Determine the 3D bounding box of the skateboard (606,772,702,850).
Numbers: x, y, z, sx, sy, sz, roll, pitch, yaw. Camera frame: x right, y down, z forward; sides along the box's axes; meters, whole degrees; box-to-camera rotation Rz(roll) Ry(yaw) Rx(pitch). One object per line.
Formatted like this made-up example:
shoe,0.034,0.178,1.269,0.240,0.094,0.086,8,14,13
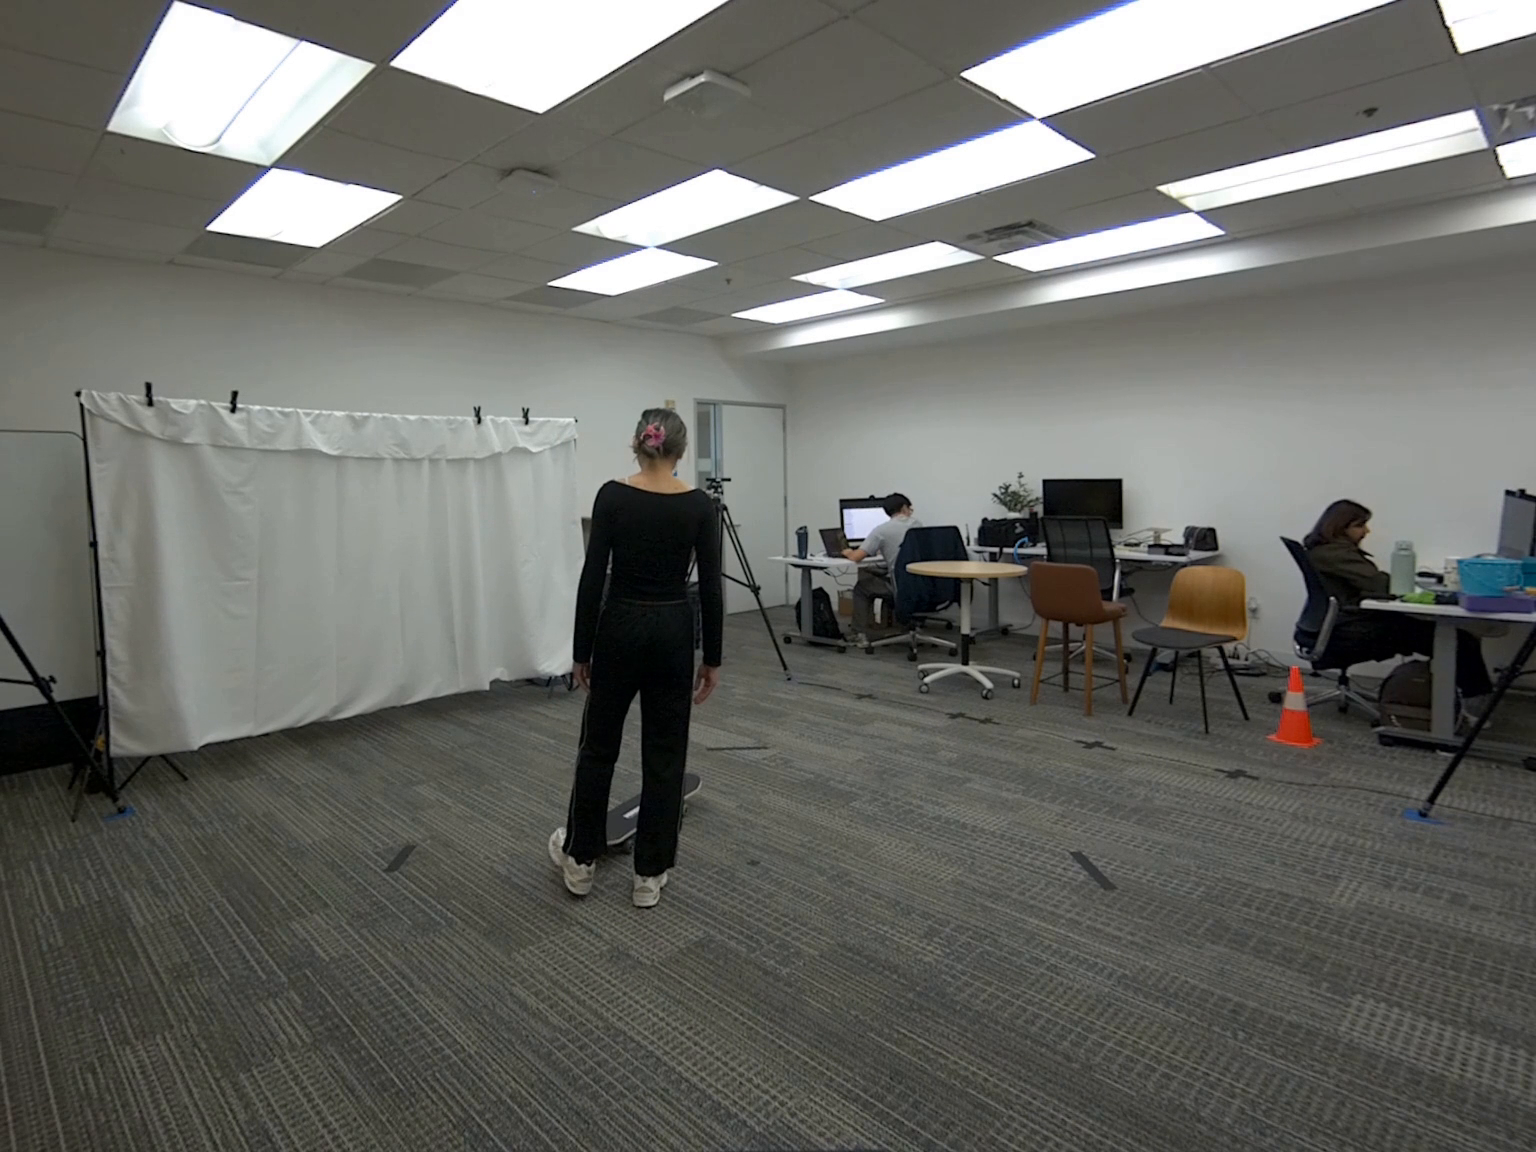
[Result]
skateboard,-0.505,0.957,3.410,0.198,0.110,0.770,2,7,26
